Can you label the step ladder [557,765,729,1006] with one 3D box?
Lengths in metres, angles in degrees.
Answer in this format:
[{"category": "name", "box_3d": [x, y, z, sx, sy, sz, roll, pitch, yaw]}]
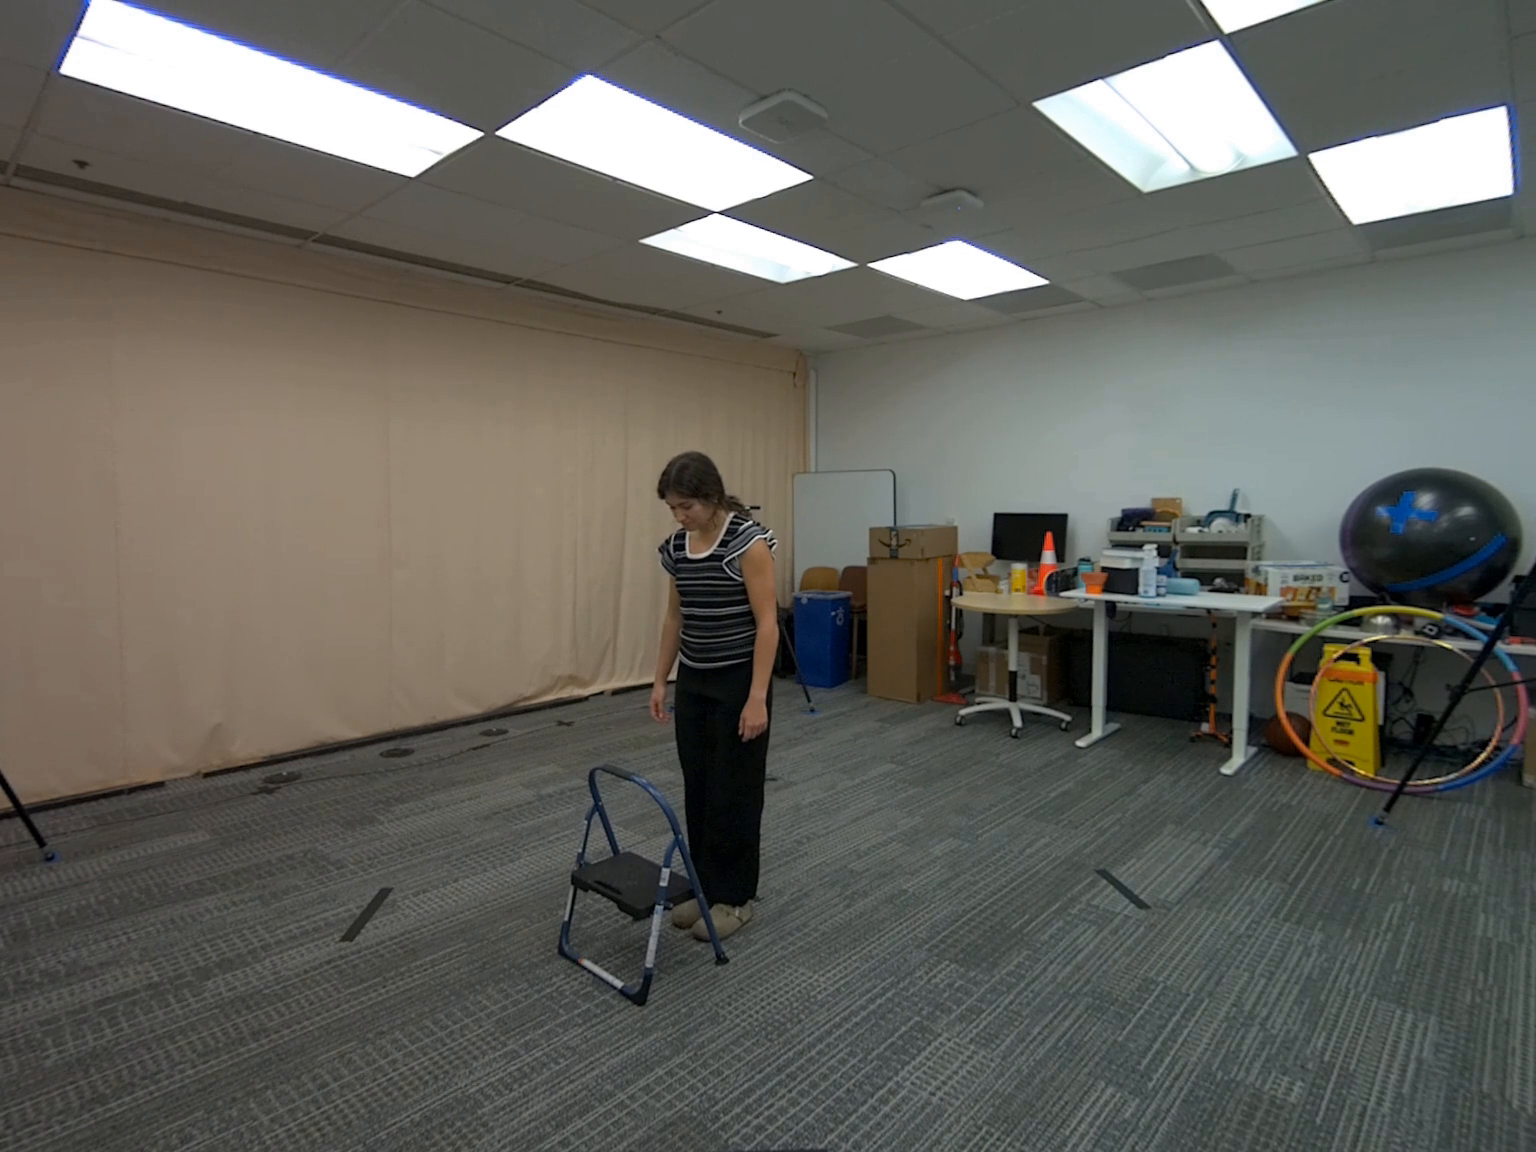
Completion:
[{"category": "step ladder", "box_3d": [-0.392, 0.878, 2.588, 0.445, 0.605, 0.338, 2, 4, 43]}]
